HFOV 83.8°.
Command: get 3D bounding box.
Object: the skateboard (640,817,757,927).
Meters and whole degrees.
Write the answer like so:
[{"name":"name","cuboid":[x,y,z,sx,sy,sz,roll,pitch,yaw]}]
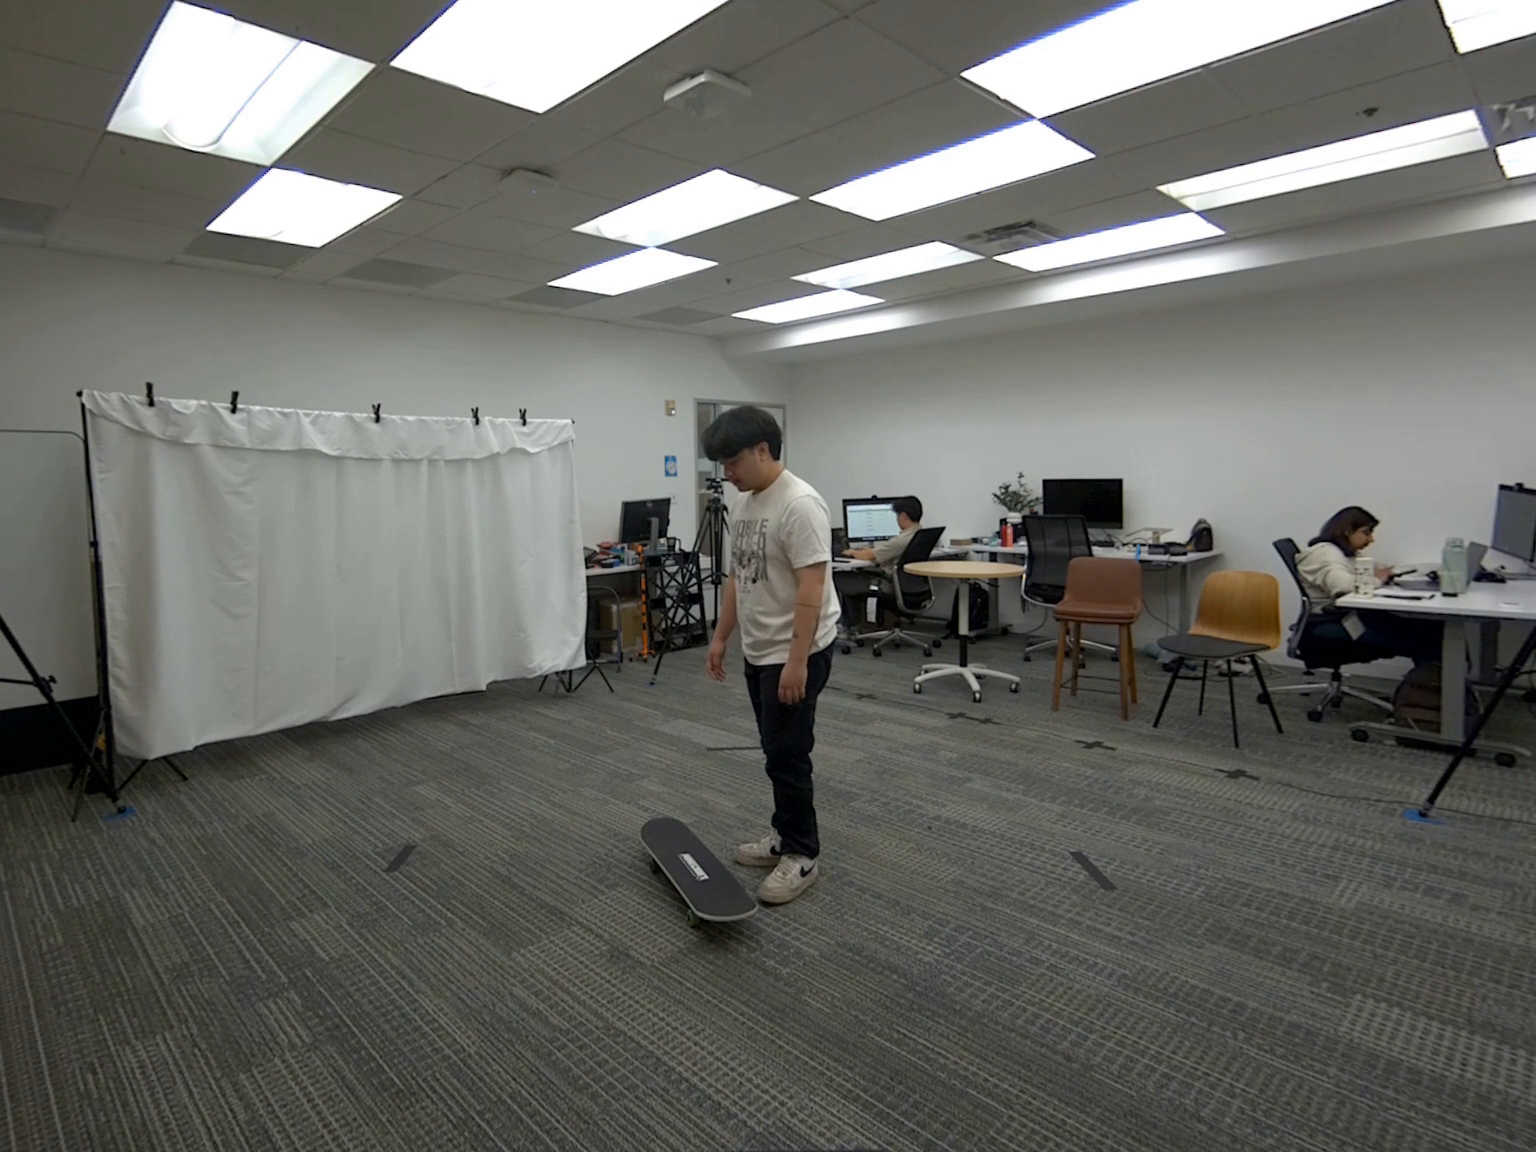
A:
[{"name":"skateboard","cuboid":[-0.249,1.015,2.888,0.190,0.110,0.805,-4,7,-24]}]
